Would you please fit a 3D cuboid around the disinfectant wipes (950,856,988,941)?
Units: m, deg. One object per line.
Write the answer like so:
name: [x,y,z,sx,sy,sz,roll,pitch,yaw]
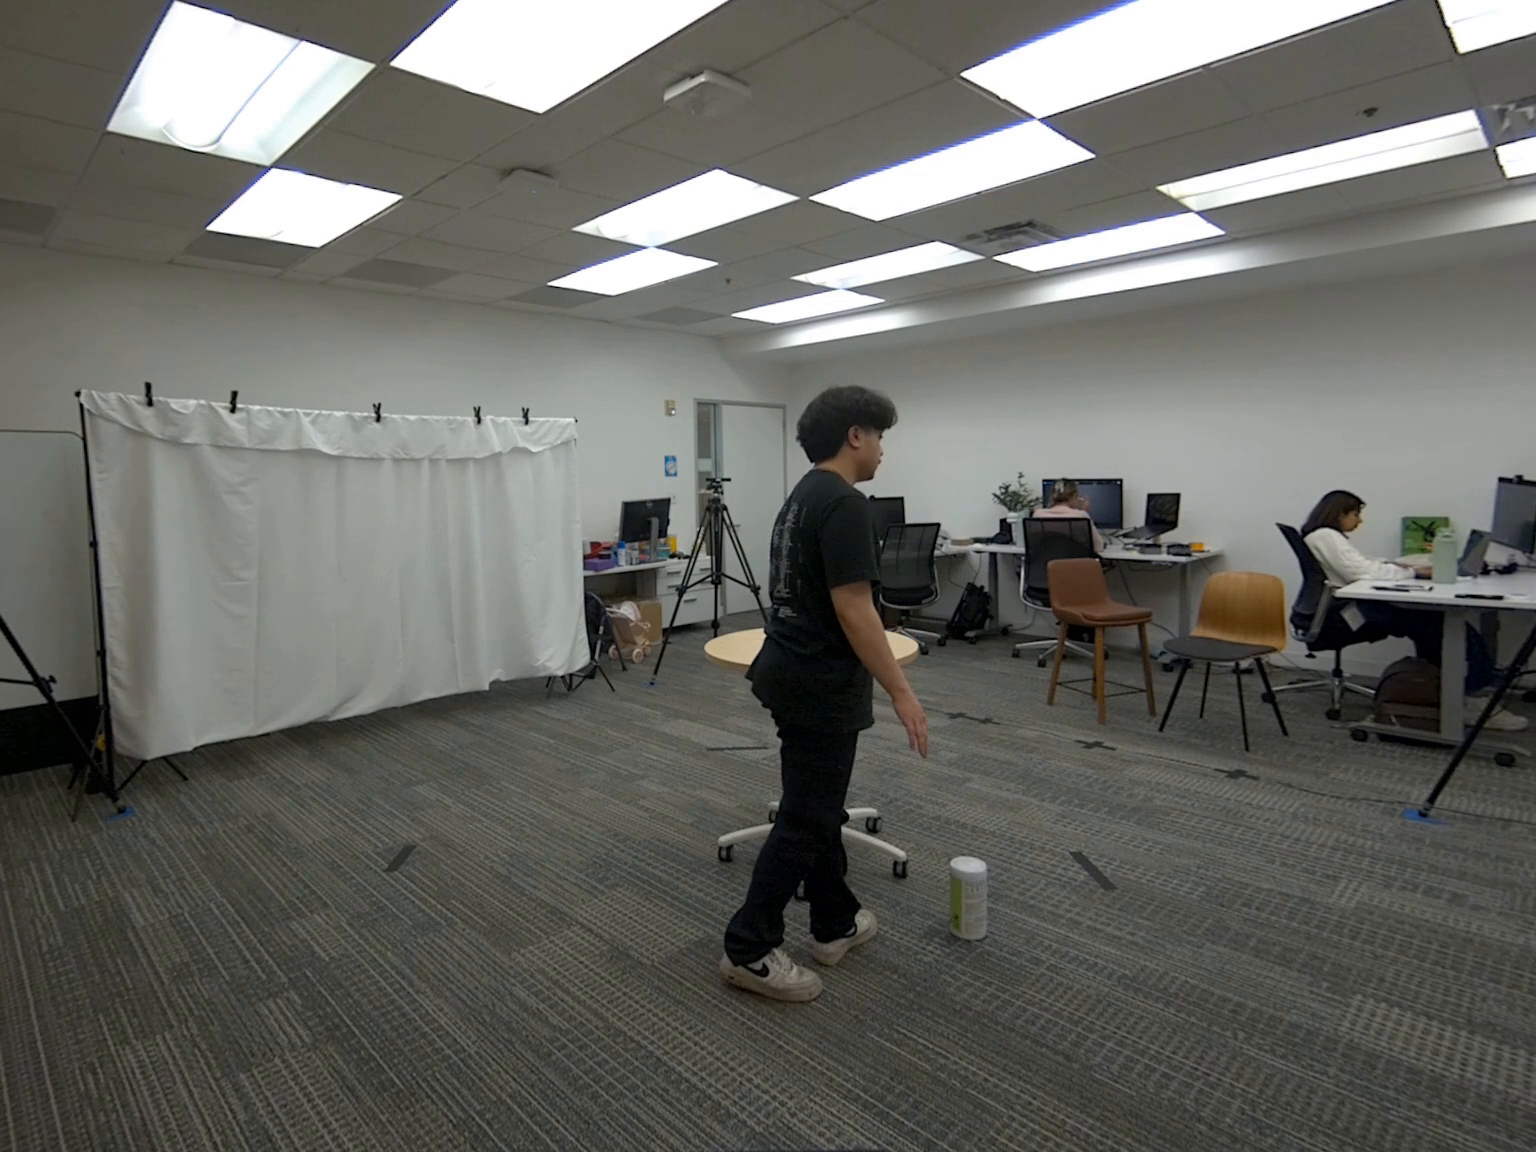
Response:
disinfectant wipes: [0.614,0.979,2.592,0.118,0.217,0.118,-1,2,-2]
